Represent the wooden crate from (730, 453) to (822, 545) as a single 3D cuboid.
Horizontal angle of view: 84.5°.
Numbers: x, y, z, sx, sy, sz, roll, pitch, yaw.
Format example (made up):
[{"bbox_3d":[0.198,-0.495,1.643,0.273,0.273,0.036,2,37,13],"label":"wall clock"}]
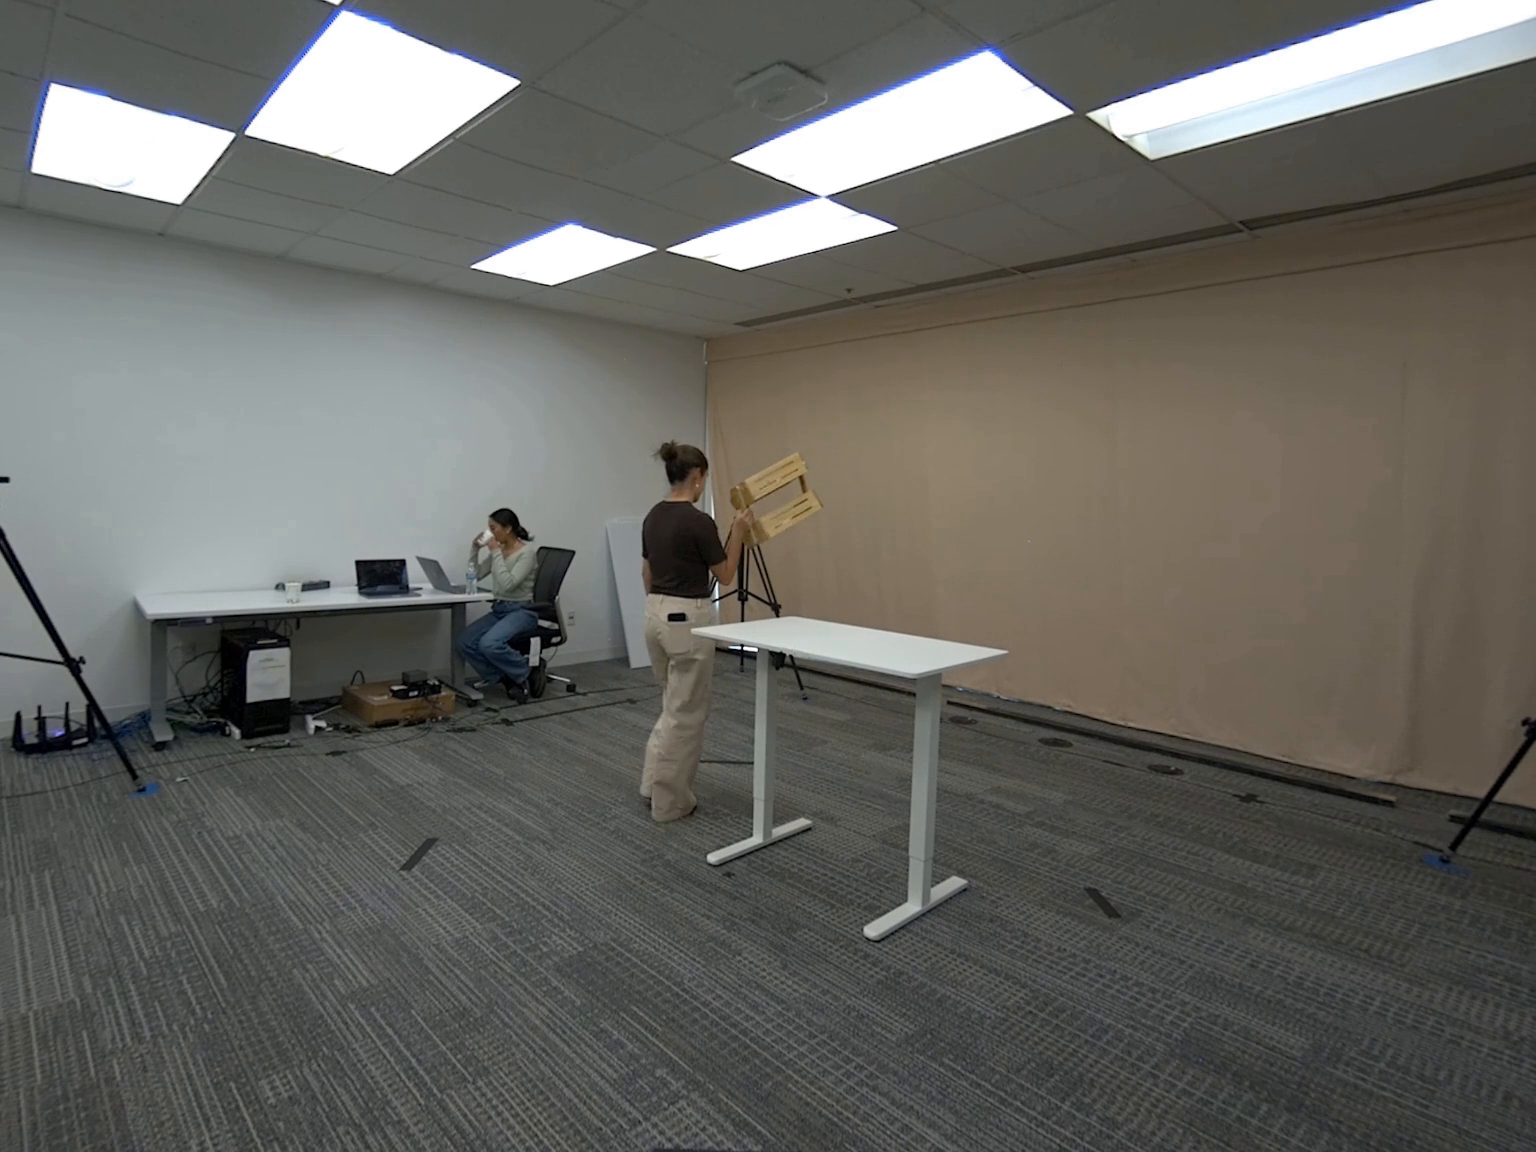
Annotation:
[{"bbox_3d":[0.008,-0.327,3.637,0.322,0.273,0.305,-30,3,-24],"label":"wooden crate"}]
